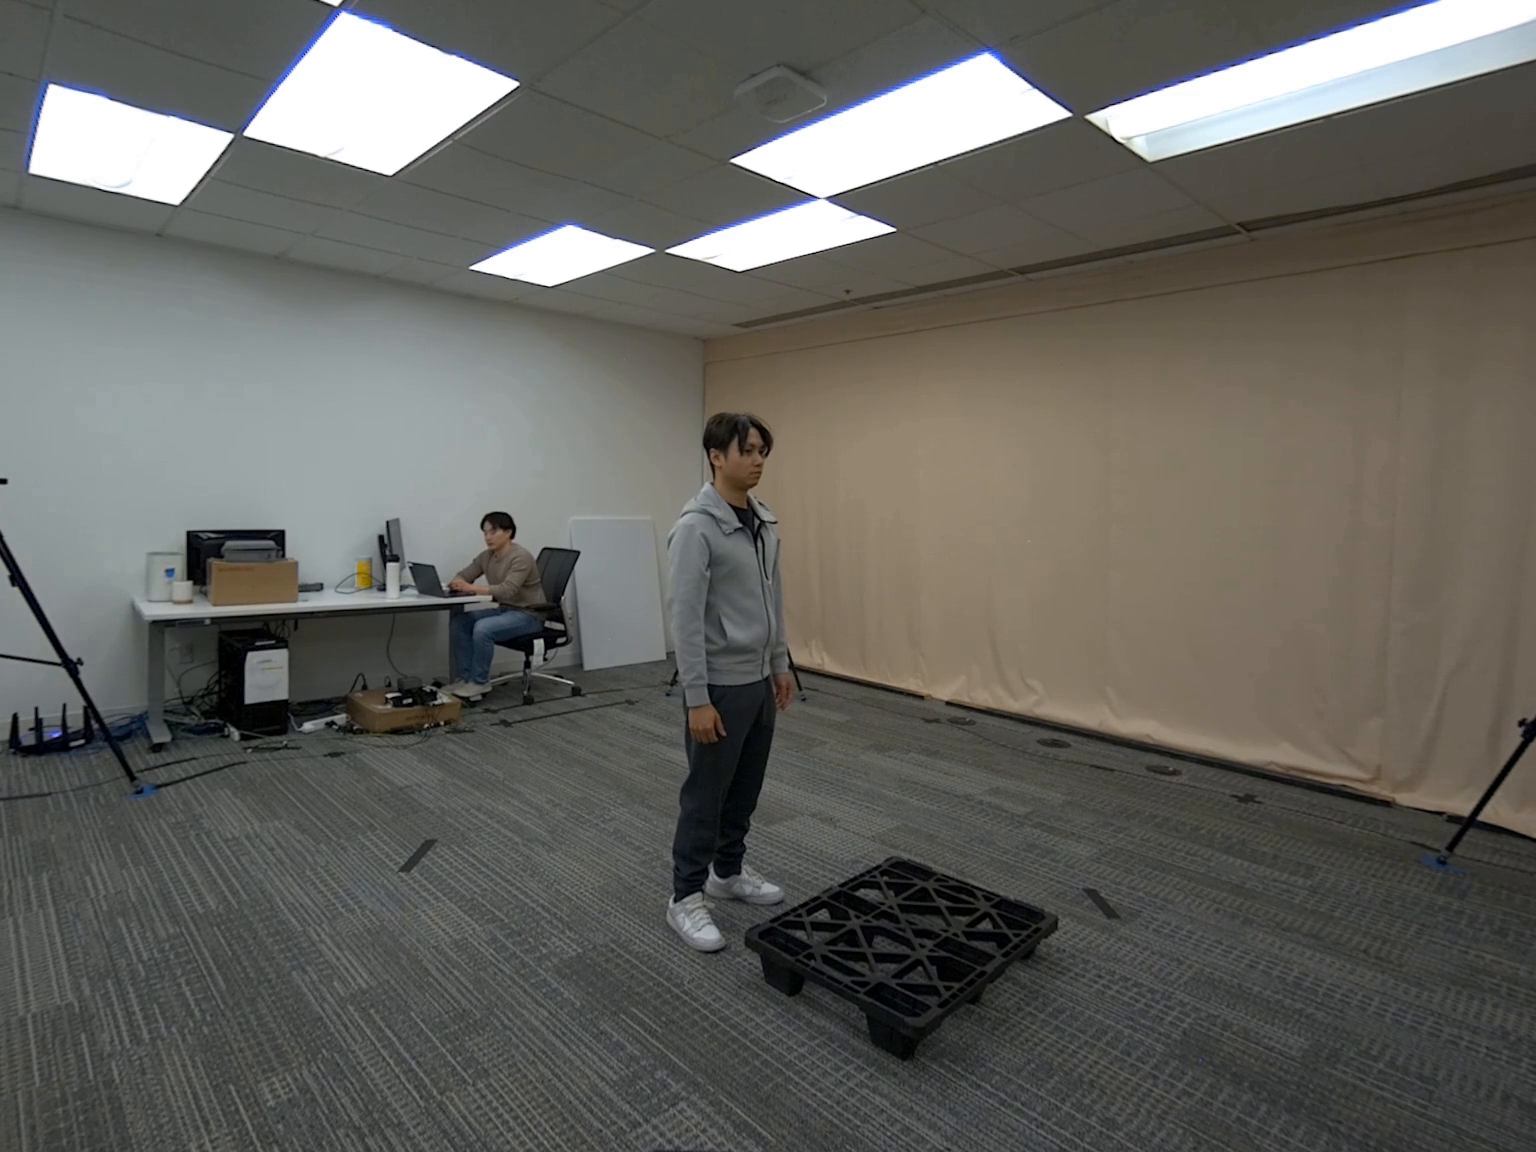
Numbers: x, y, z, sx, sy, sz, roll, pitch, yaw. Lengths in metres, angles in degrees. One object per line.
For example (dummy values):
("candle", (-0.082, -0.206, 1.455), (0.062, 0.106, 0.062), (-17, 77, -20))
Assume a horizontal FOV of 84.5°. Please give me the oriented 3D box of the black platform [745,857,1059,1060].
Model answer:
("black platform", (0.396, 1.107, 2.519), (0.621, 0.143, 0.787), (6, 7, 43))
